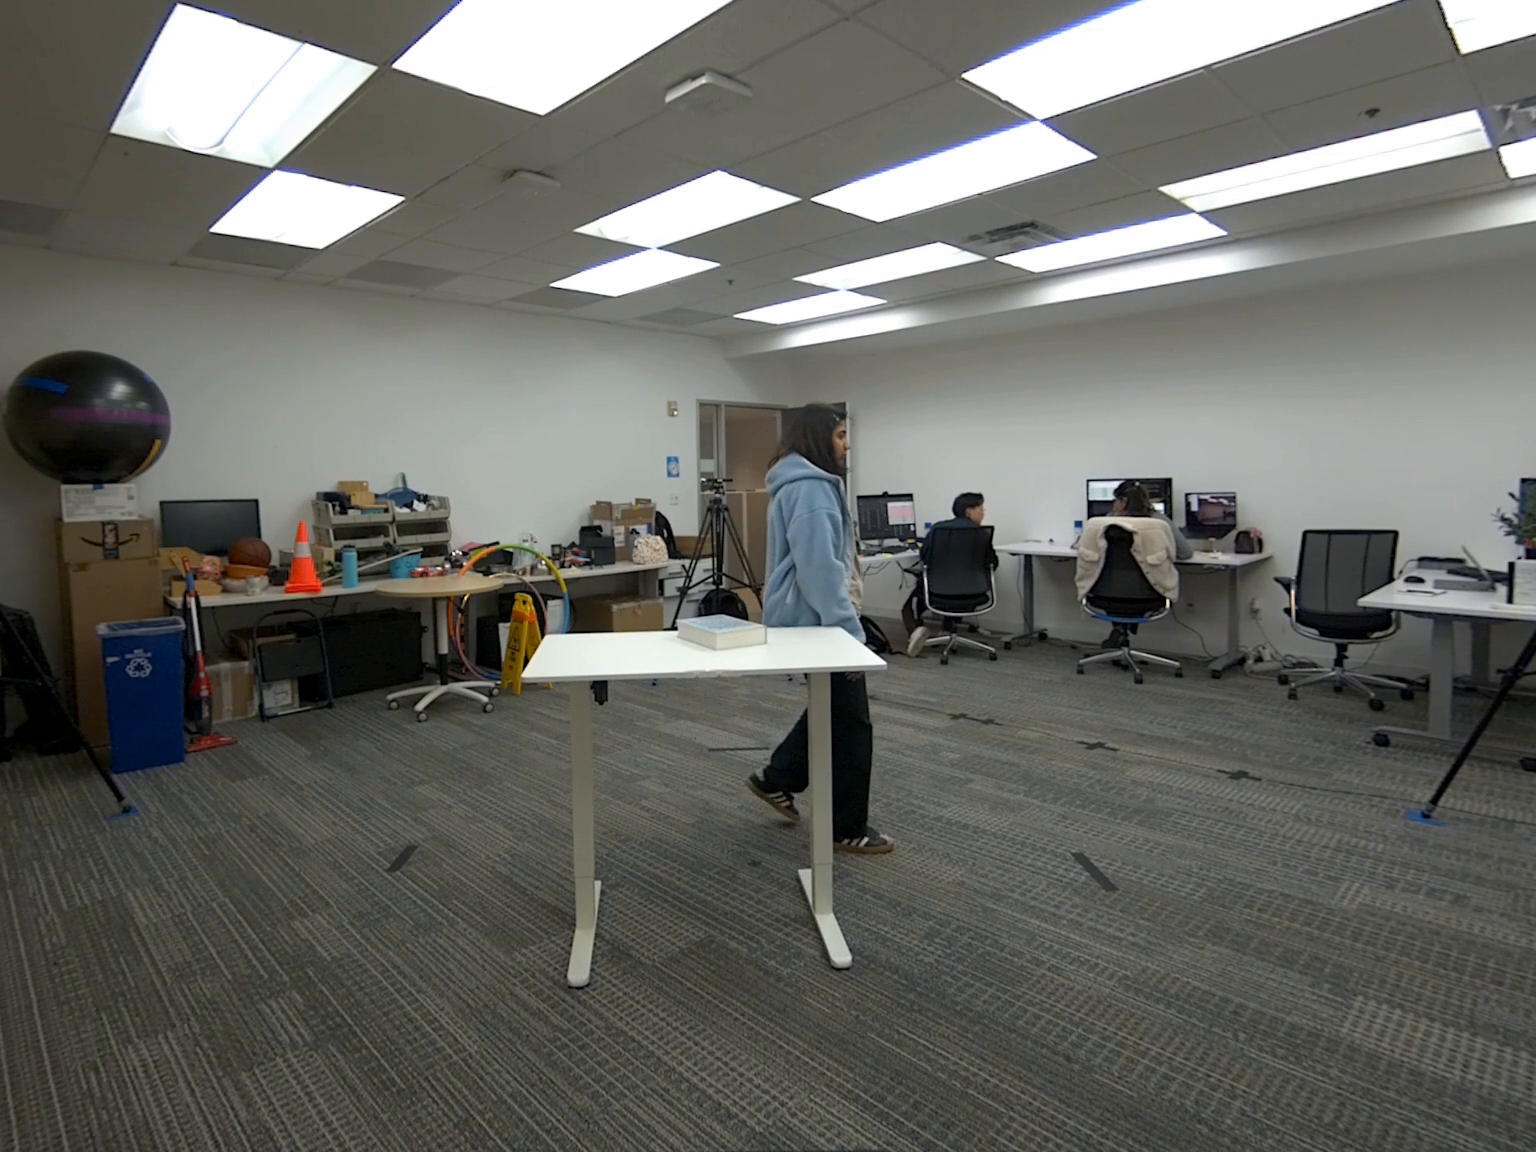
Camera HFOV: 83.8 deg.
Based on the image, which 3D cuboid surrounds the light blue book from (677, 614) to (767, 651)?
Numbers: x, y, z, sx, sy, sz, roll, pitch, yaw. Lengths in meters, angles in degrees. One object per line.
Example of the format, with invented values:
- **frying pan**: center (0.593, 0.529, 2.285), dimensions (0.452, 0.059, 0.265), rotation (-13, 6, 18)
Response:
- **light blue book**: center (-0.146, 0.179, 2.722), dimensions (0.187, 0.059, 0.268), rotation (-5, 7, -32)
